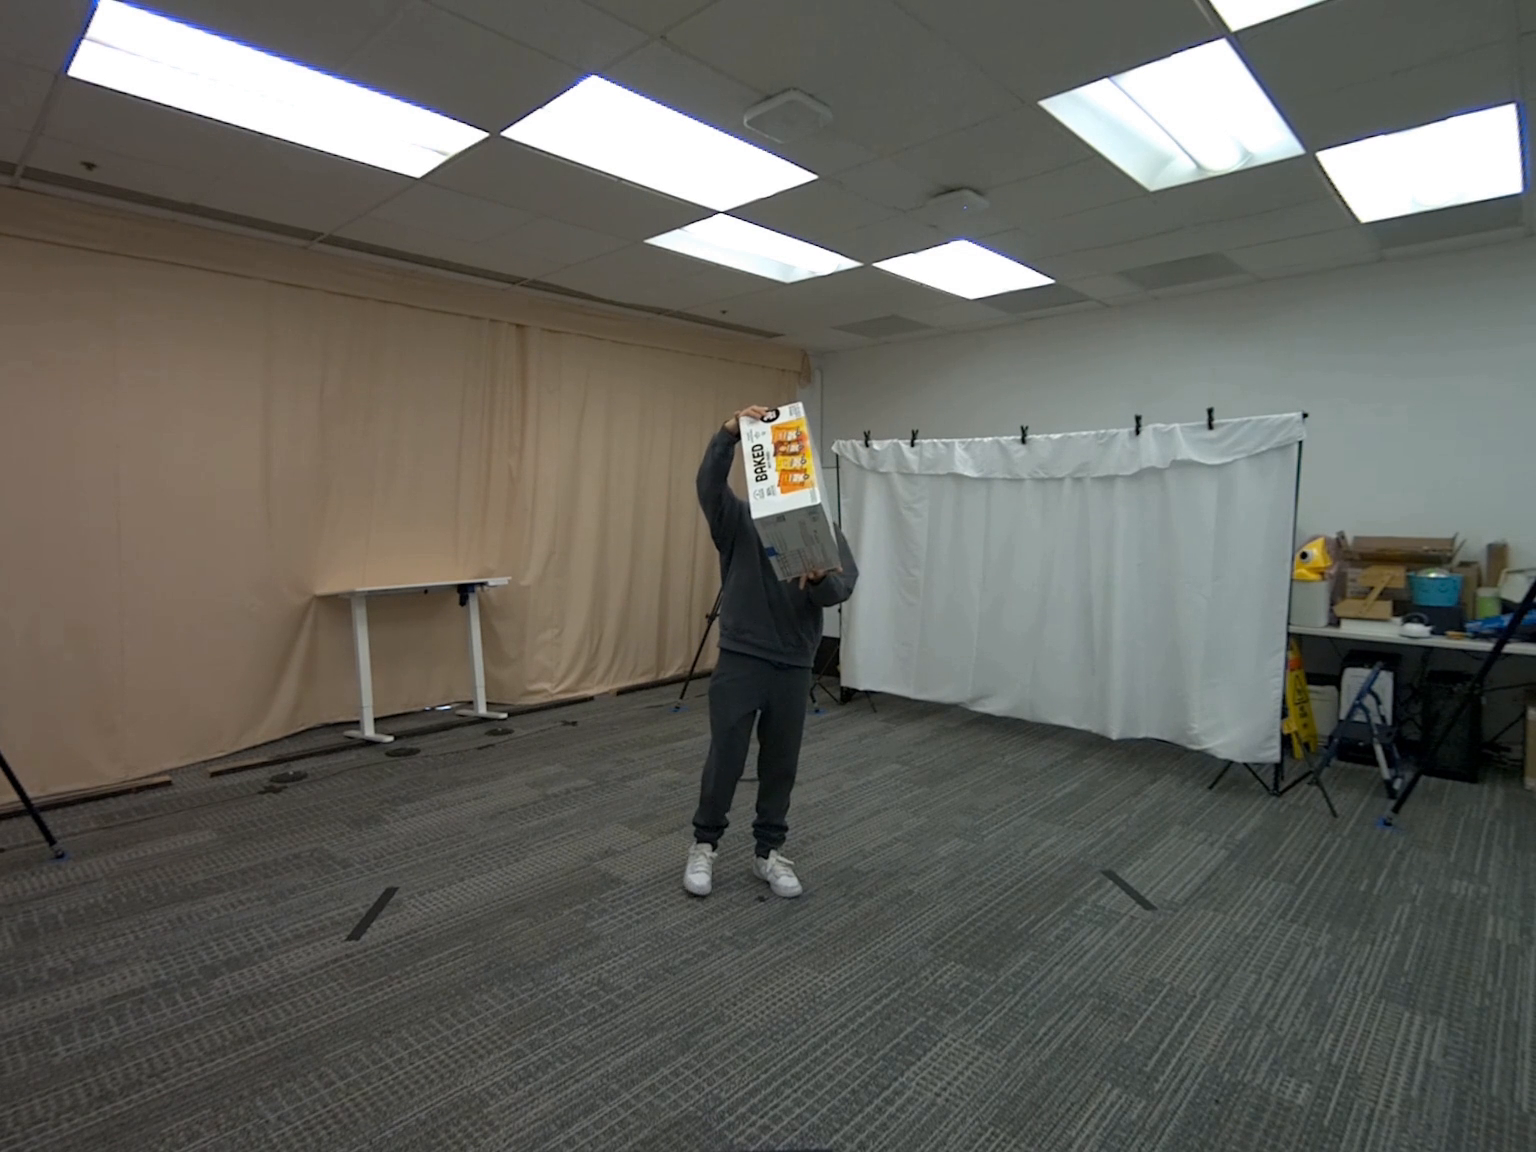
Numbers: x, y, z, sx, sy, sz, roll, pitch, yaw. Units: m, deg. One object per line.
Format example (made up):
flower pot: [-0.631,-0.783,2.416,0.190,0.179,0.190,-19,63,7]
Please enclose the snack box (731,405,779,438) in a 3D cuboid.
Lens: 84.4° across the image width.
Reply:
snack box: [0.077,-0.260,2.605,0.207,0.414,0.330,-14,-36,8]
